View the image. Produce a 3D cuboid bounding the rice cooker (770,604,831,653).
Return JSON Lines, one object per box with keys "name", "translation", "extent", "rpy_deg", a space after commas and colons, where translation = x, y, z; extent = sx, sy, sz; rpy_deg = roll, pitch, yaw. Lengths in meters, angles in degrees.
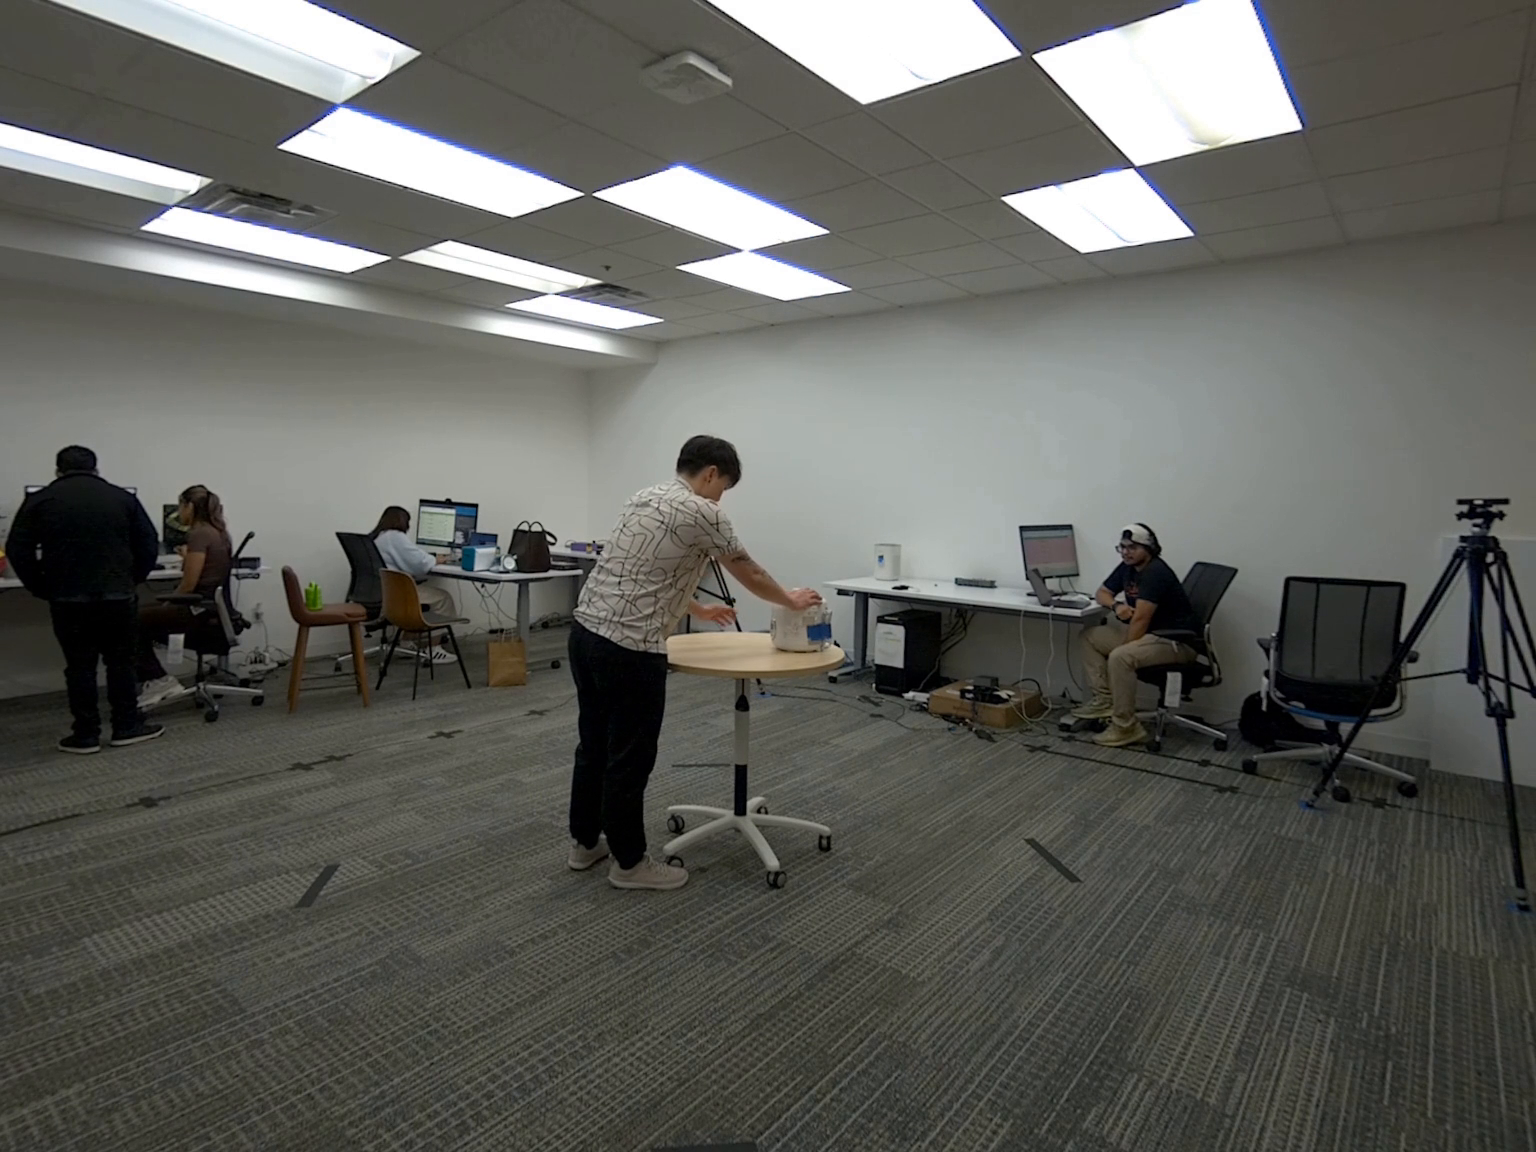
{"name": "rice cooker", "translation": [0.112, 0.162, 3.275], "extent": [0.214, 0.232, 0.225], "rpy_deg": [1, 5, -15]}
